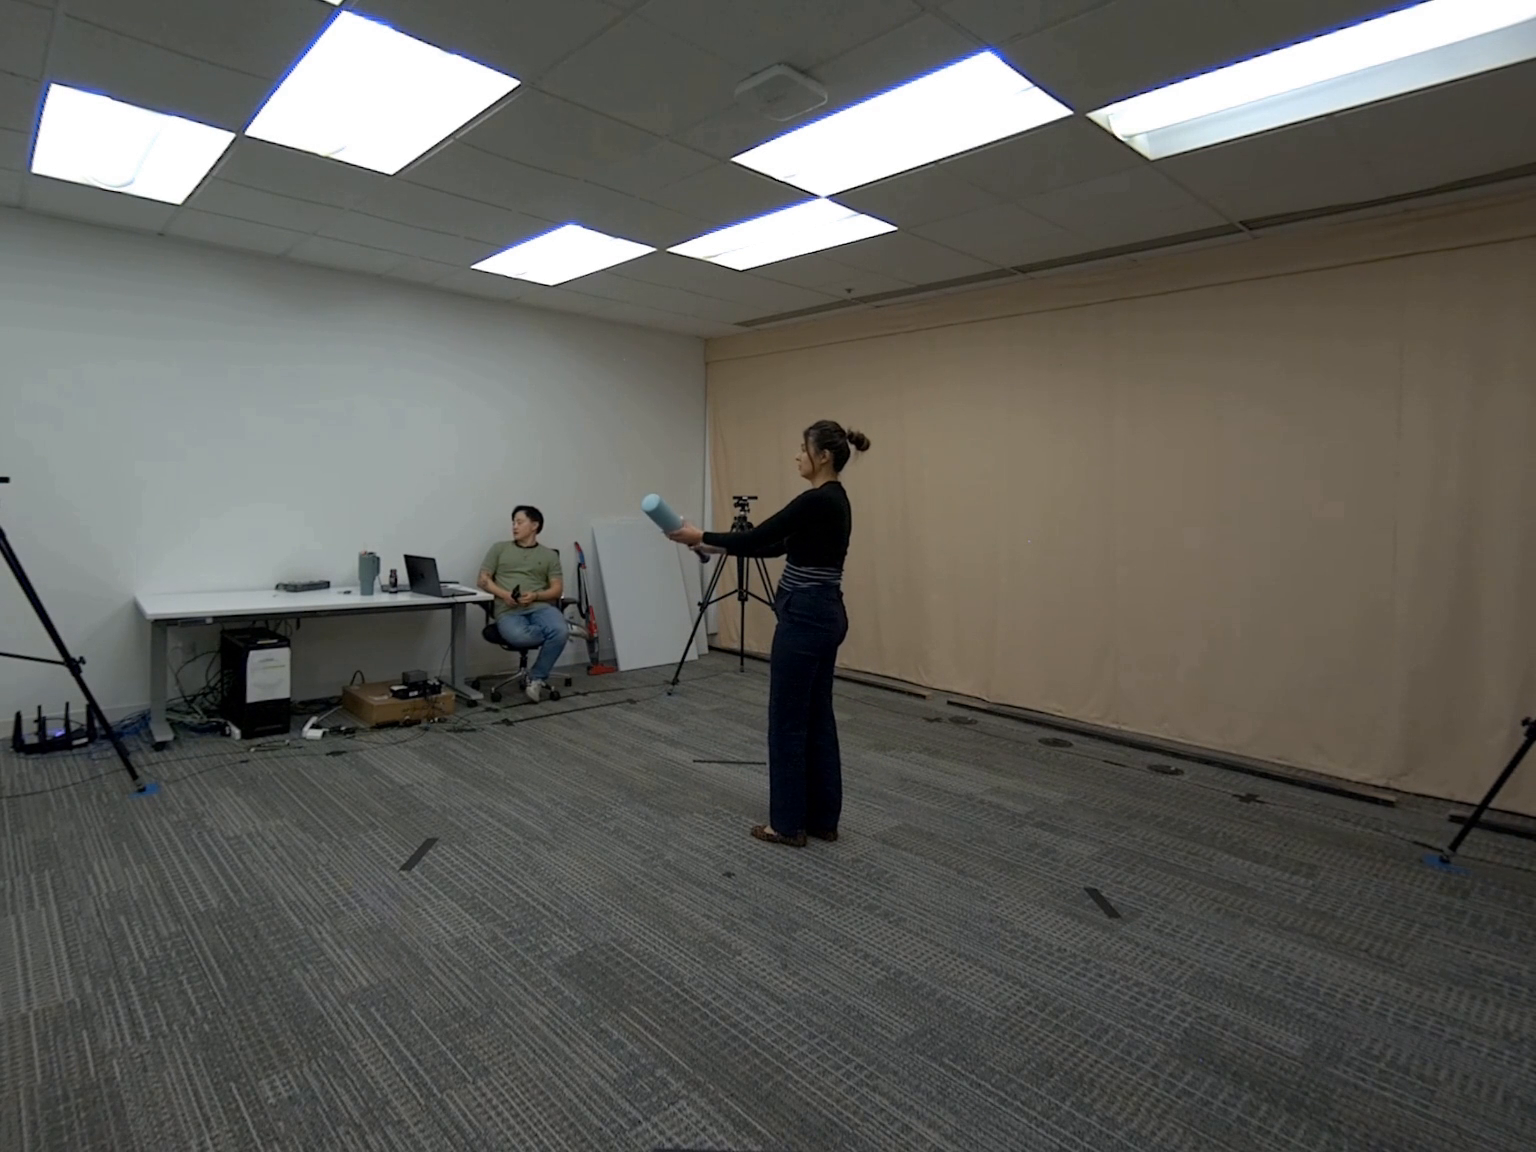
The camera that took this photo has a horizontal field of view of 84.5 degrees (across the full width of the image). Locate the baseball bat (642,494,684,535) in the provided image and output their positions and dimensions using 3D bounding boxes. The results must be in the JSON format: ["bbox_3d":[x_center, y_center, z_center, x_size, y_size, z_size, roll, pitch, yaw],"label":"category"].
[{"bbox_3d":[-0.387,-0.188,3.557,0.090,0.090,0.527,3,-23,22],"label":"baseball bat"}]
